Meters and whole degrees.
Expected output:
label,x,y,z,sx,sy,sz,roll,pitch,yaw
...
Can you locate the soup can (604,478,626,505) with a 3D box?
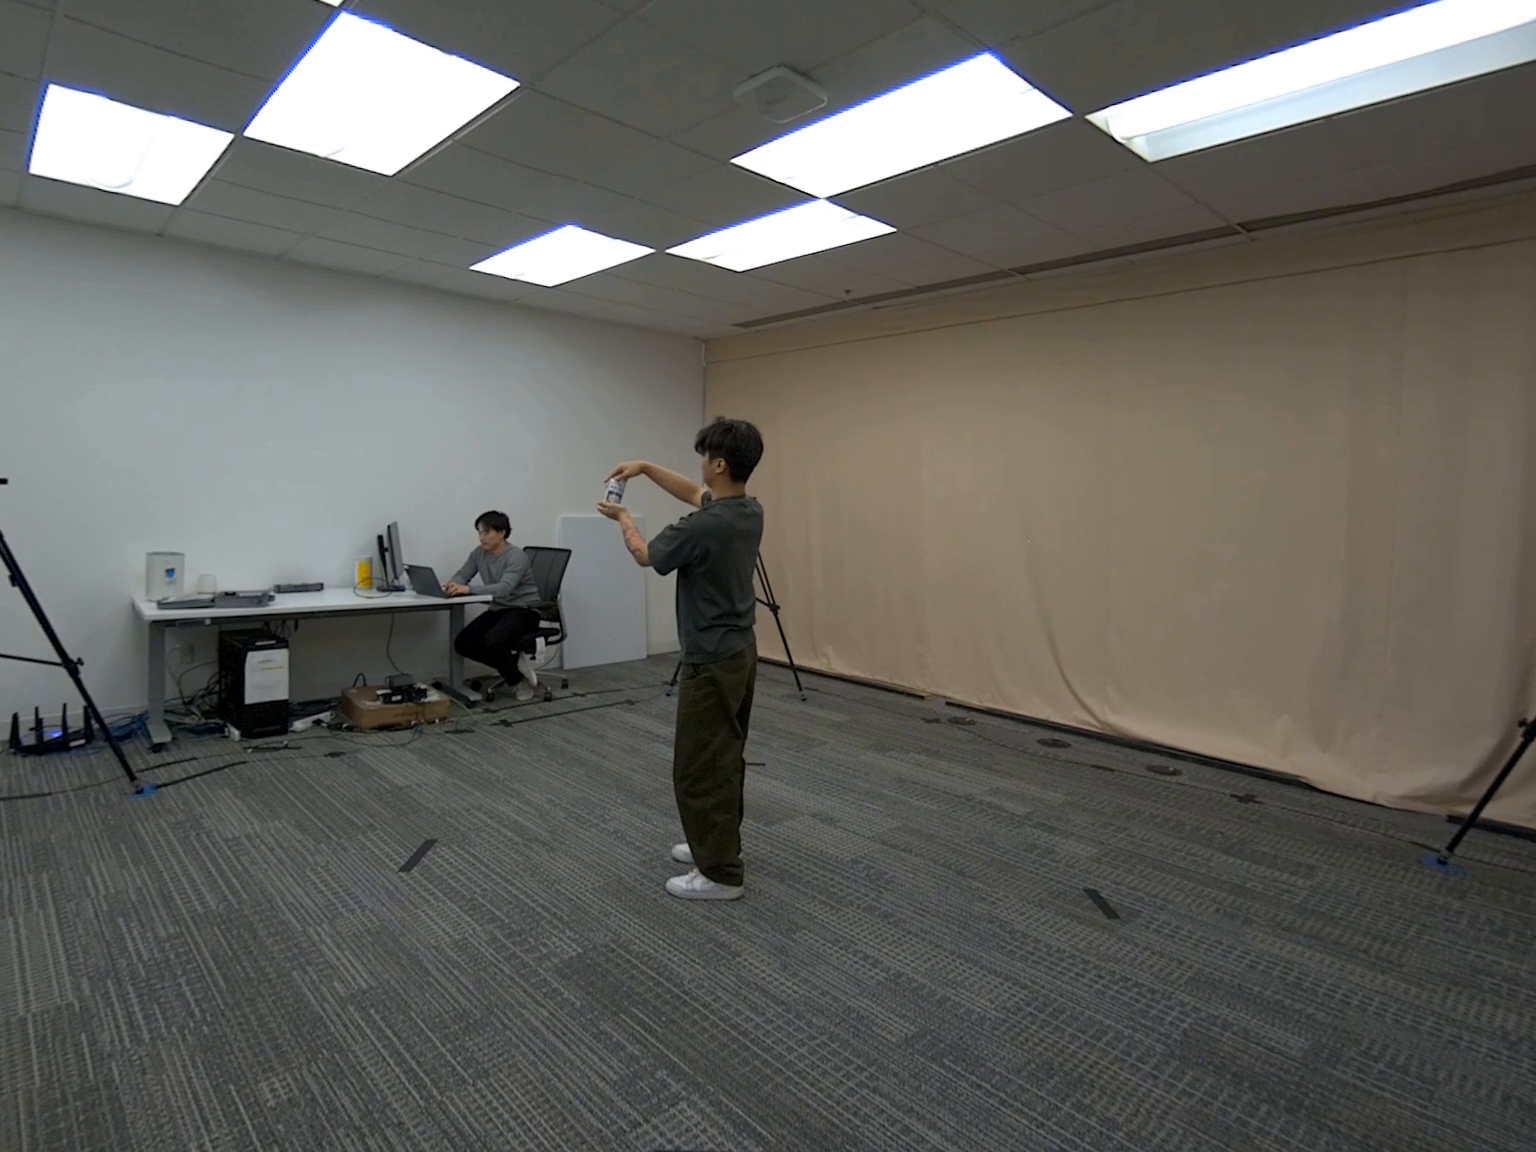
label,x,y,z,sx,sy,sz,roll,pitch,yaw
soup can,-0.592,-0.310,3.218,0.067,0.122,0.067,10,-7,0
